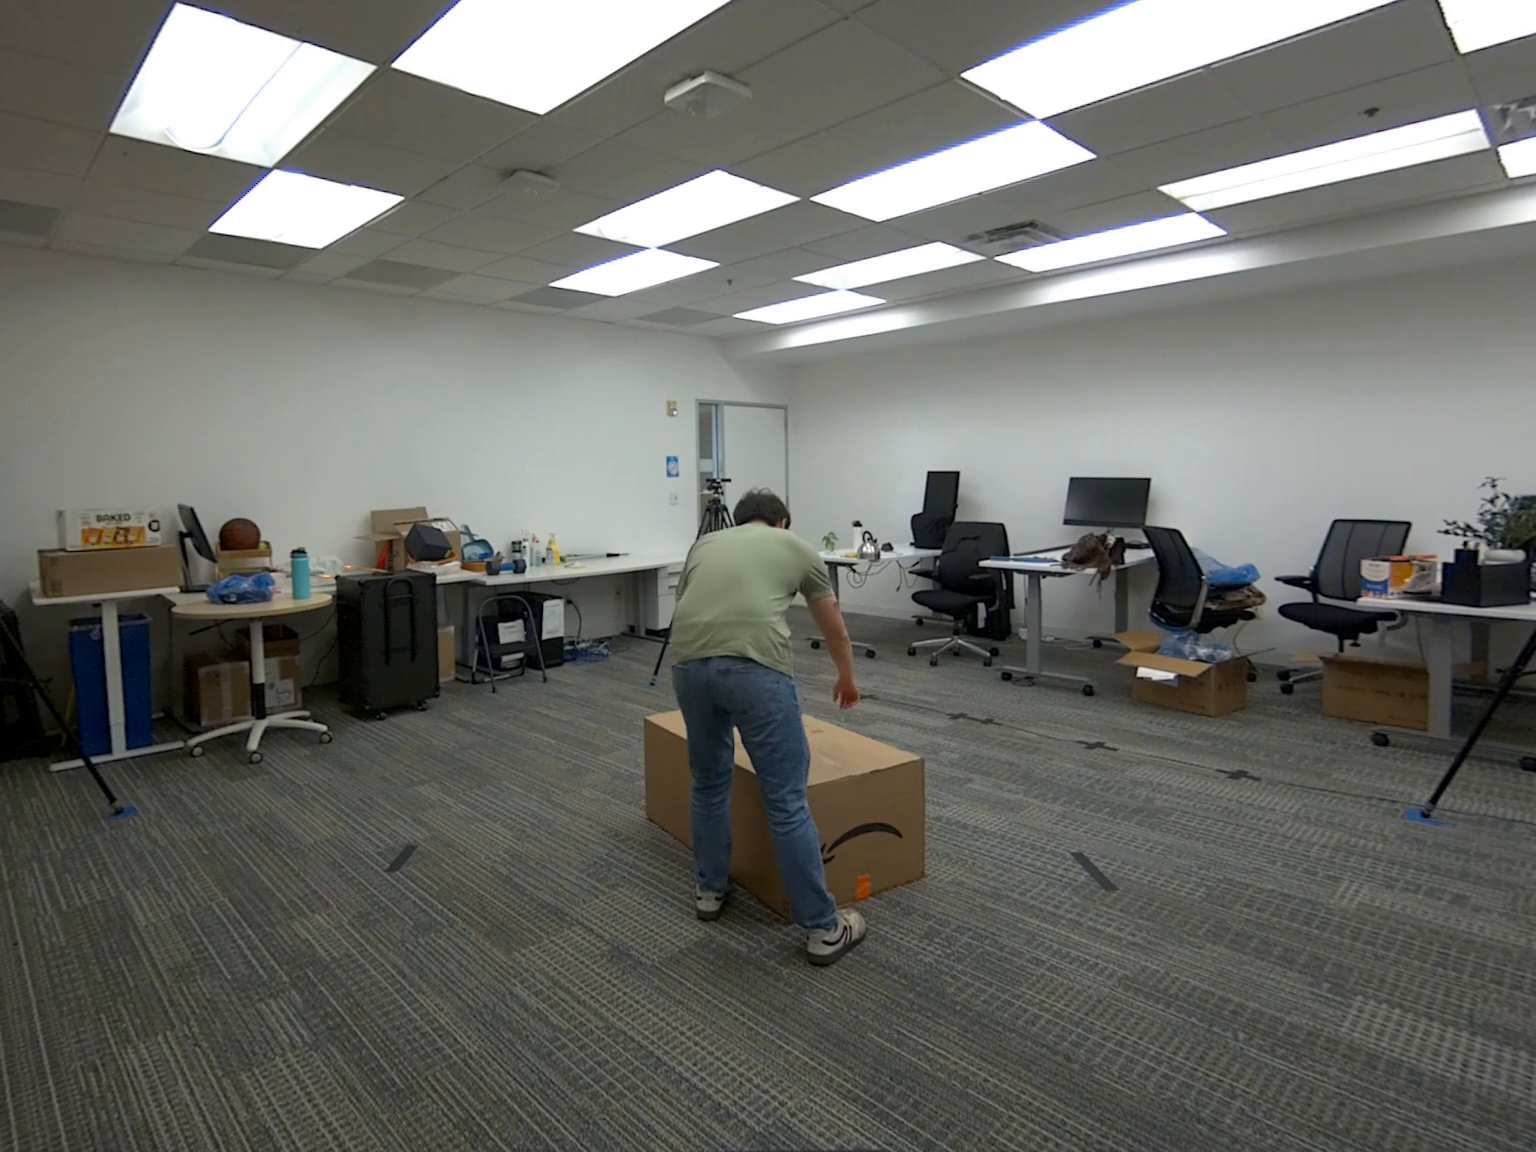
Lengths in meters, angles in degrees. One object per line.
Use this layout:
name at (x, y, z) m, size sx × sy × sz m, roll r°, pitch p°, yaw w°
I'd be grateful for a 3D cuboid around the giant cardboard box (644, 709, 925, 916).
giant cardboard box at (0.019, 0.814, 3.247) m, size 0.563 × 0.424 × 1.056 m, roll -4°, pitch 7°, yaw -34°
